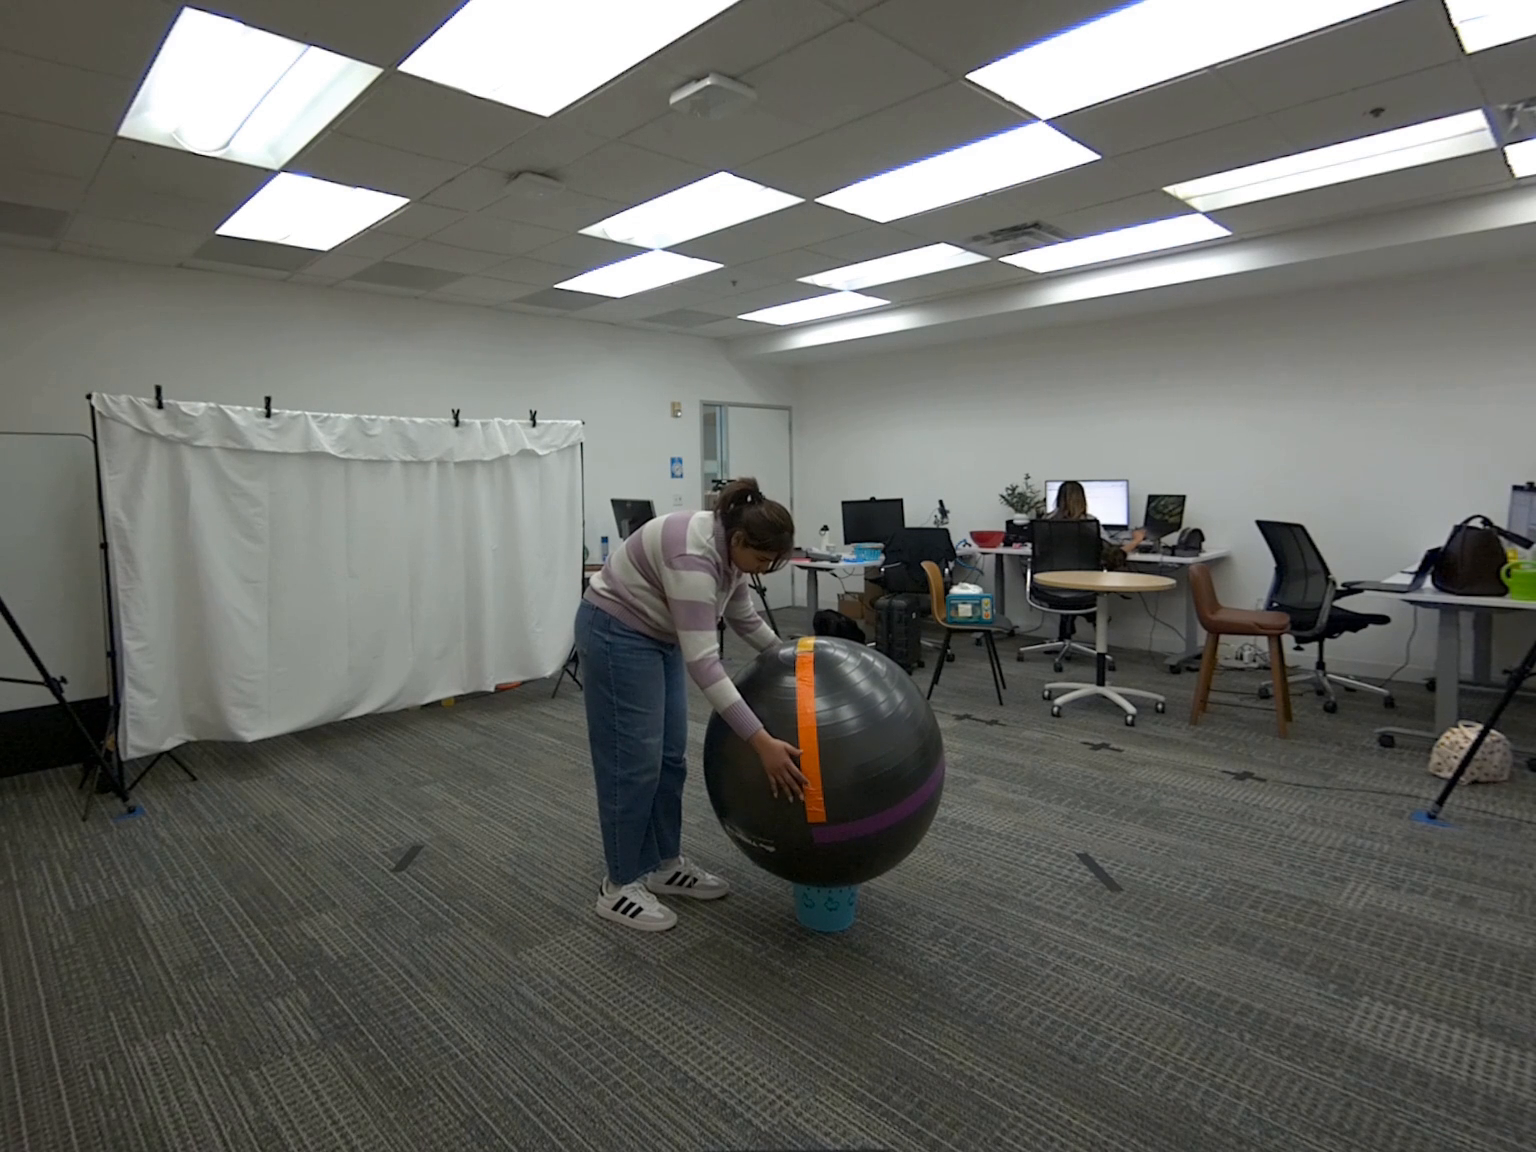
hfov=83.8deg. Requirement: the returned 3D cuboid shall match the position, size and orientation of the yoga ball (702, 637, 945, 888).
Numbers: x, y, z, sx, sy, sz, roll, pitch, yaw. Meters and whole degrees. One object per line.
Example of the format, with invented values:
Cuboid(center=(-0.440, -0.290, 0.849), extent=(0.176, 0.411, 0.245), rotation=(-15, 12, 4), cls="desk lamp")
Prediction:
Cuboid(center=(0.175, 0.578, 2.694), extent=(0.757, 0.755, 0.762), rotation=(-1, 5, -2), cls="yoga ball")
